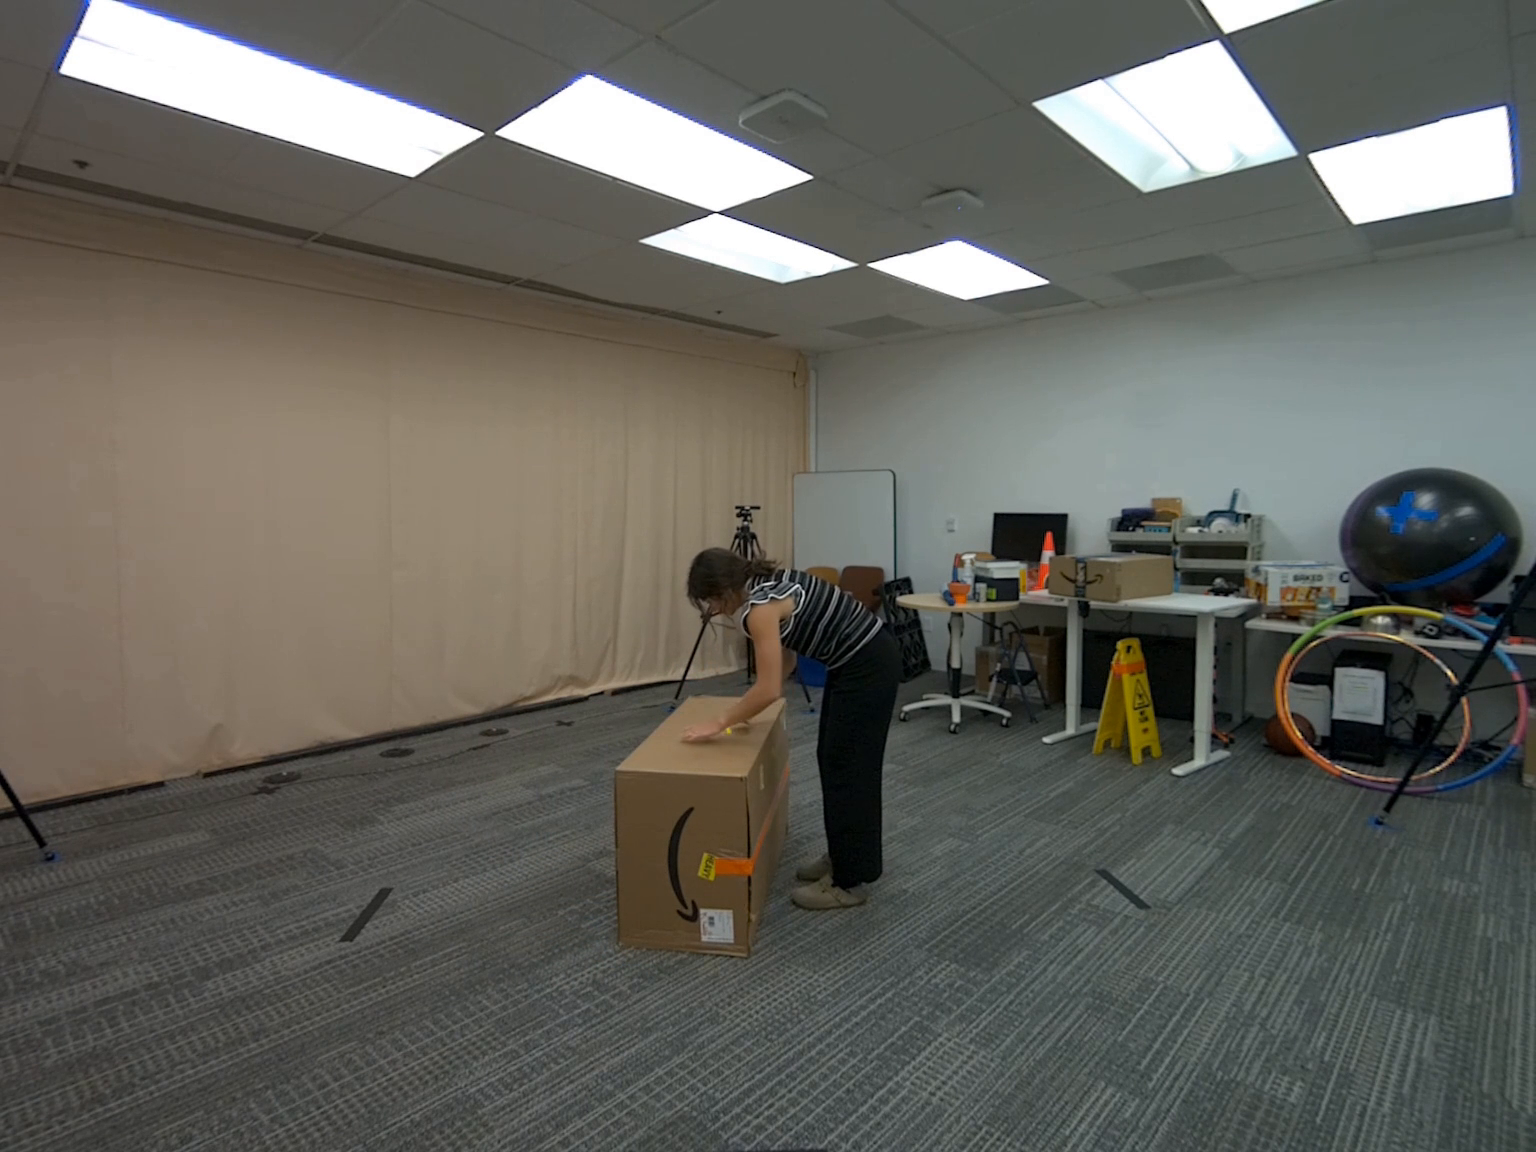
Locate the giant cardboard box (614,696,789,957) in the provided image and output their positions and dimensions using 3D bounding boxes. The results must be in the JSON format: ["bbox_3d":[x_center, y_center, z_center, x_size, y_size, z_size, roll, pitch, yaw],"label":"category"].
[{"bbox_3d":[-0.198,0.835,3.110,0.431,0.576,1.017,1,5,8],"label":"giant cardboard box"}]
